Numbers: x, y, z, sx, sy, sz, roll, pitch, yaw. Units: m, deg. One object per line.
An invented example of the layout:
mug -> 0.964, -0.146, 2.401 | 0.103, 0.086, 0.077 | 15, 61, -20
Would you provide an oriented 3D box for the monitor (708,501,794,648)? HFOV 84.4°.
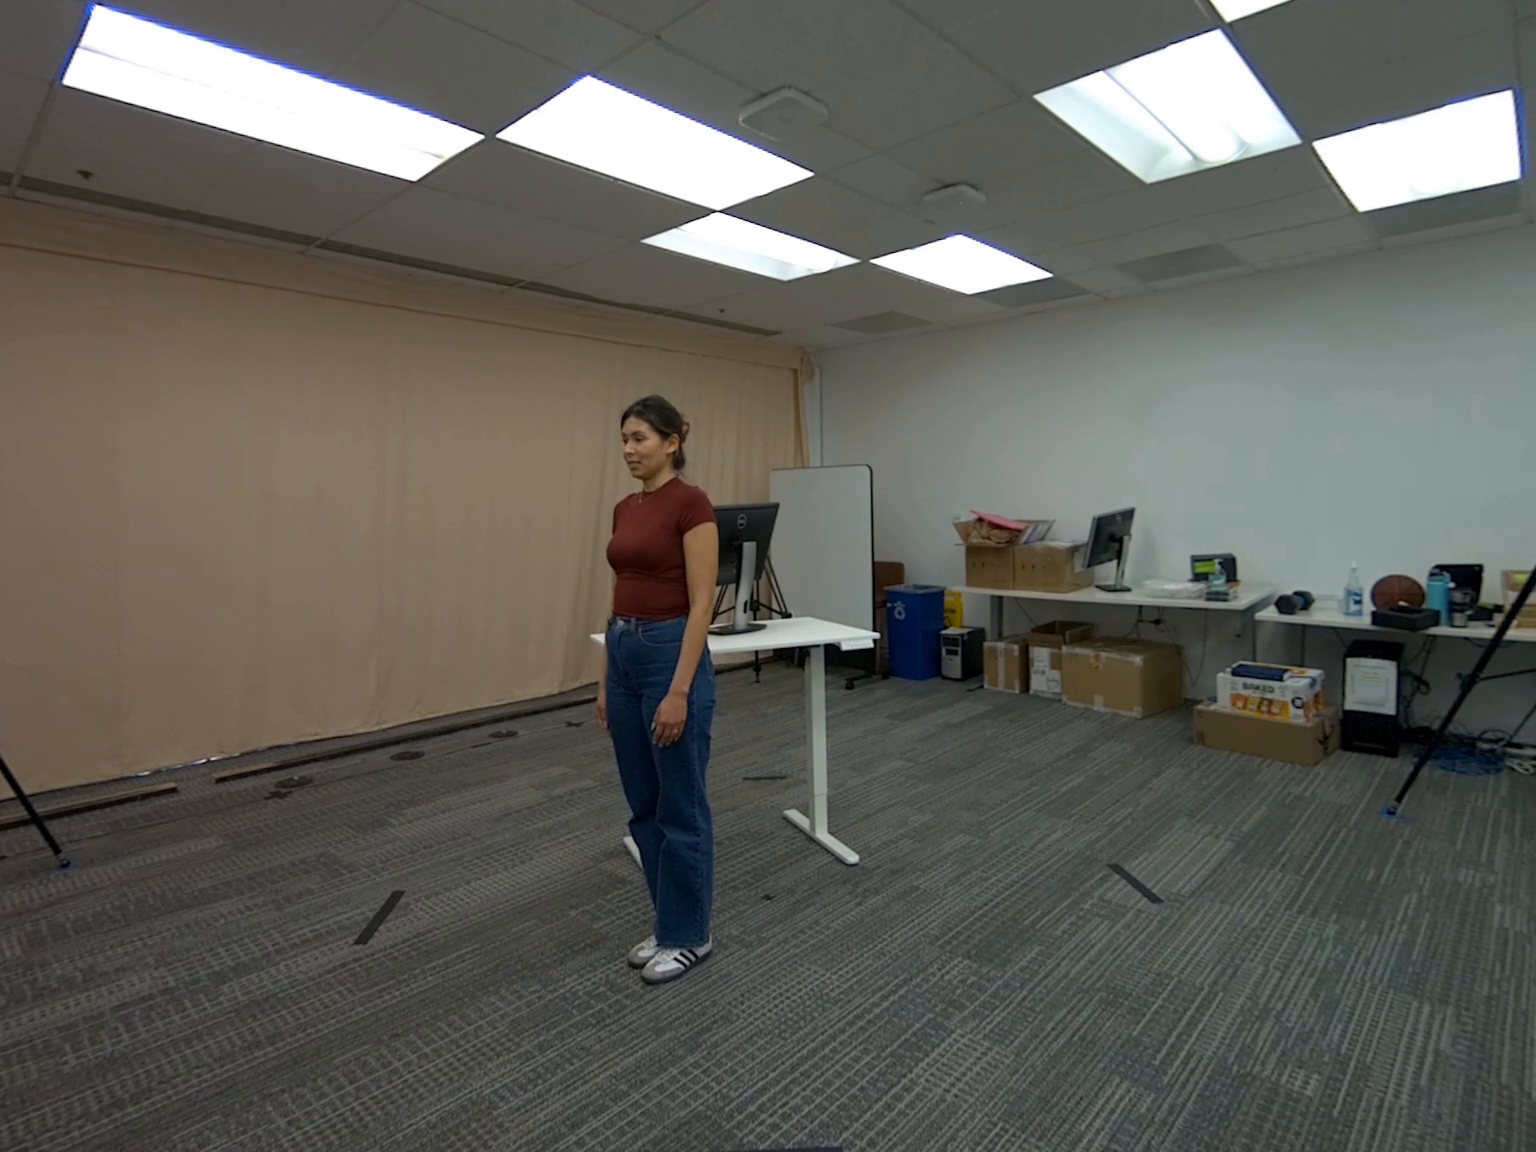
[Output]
monitor -> -0.135, -0.030, 3.411 | 0.193, 0.520, 0.524 | 6, 8, 36
